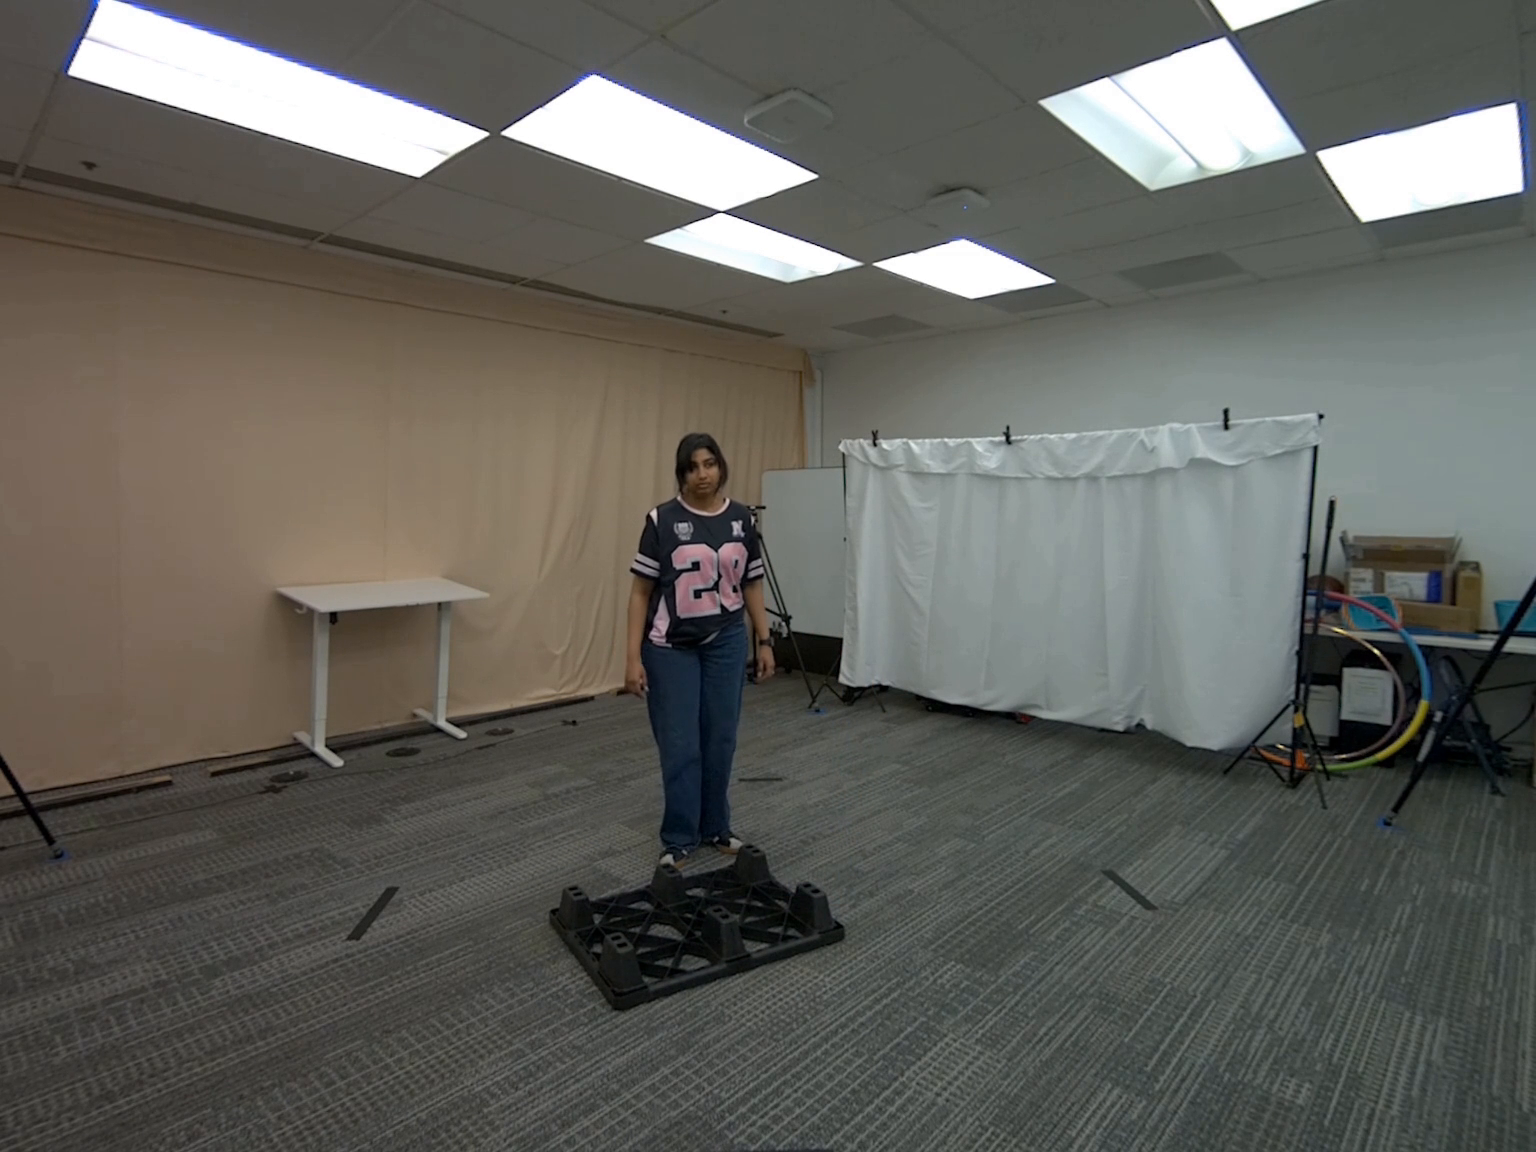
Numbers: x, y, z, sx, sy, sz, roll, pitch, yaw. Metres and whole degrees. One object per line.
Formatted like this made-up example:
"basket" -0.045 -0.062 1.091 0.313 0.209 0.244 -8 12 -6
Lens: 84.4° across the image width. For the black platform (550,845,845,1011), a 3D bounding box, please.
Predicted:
"black platform" -0.238 1.098 2.767 0.784 0.143 0.623 -3 6 -31
